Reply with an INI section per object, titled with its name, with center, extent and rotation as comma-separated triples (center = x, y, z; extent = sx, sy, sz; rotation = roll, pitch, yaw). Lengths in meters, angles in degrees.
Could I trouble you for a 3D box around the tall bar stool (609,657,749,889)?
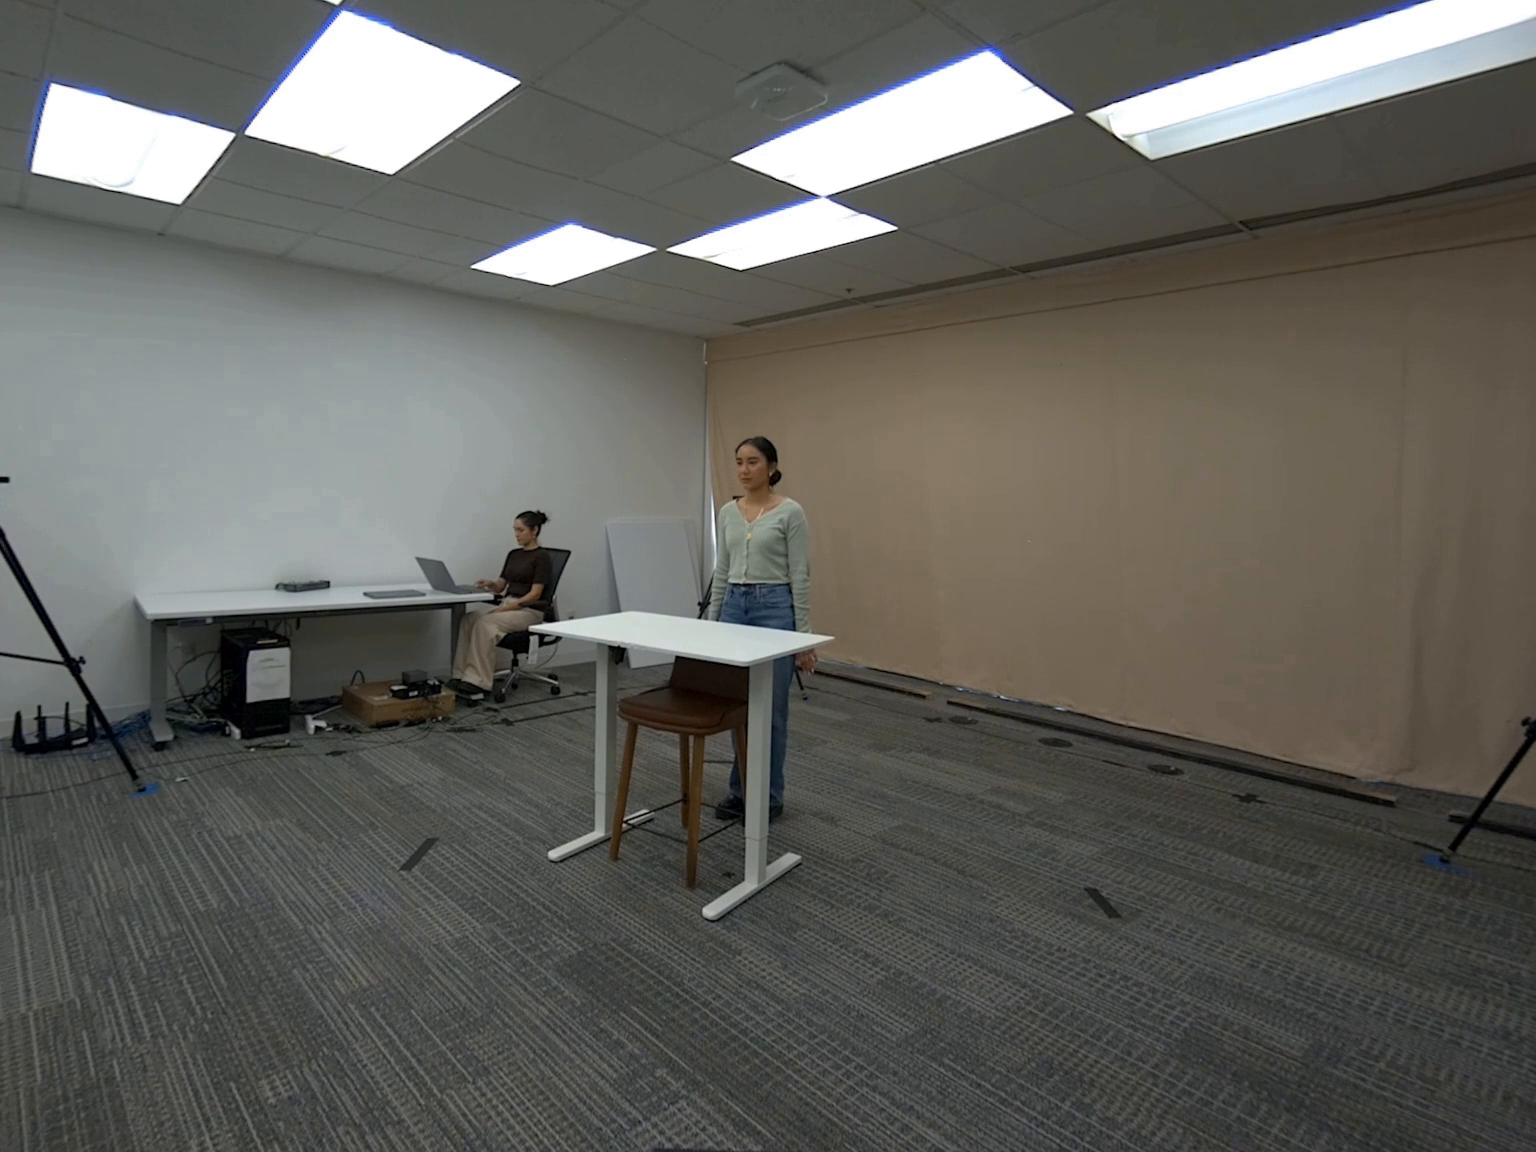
[tall bar stool]
center = -0.308, 0.654, 3.254
extent = 0.467, 0.889, 0.457
rotation = 3, 2, 35
